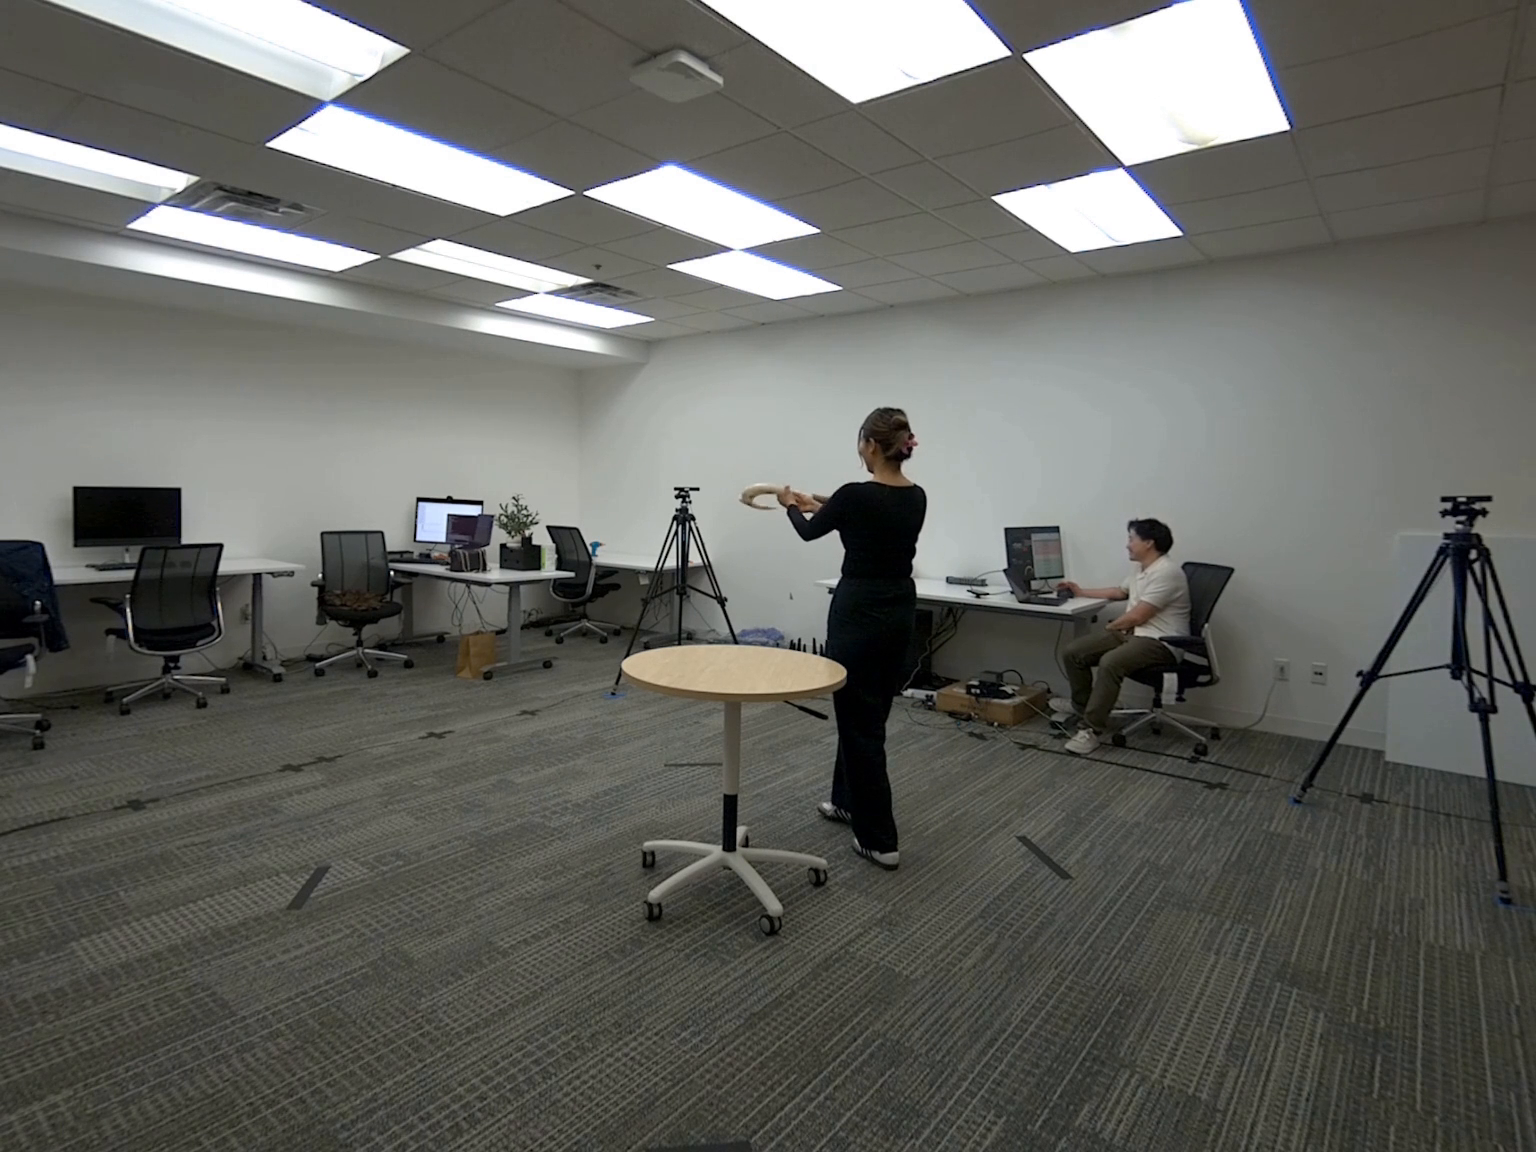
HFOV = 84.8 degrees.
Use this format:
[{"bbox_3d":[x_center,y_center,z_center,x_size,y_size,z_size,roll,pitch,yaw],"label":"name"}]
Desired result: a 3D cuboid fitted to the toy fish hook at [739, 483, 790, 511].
[{"bbox_3d":[0.113,-0.336,3.762,0.499,0.049,0.224,8,-18,-12],"label":"toy fish hook"}]
